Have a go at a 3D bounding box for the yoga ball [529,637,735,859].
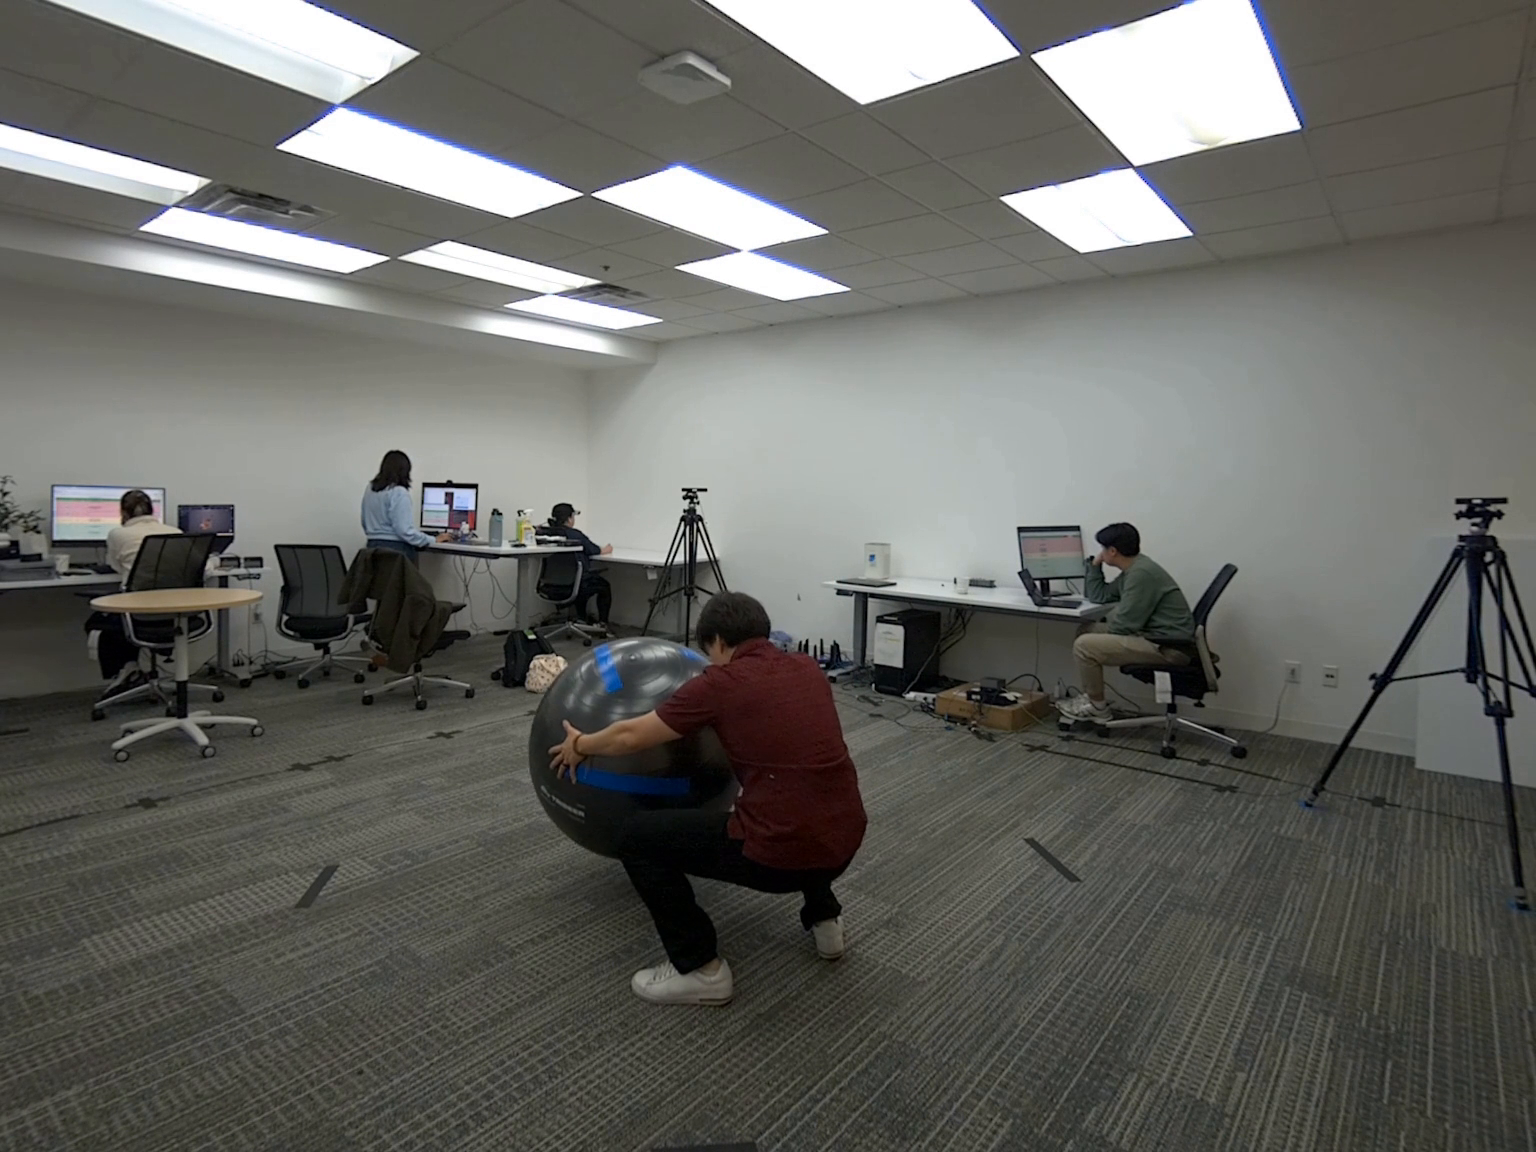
[{"bbox_3d":[-0.466,0.587,2.976,0.757,0.756,0.762,1,4,-2],"label":"yoga ball"}]
